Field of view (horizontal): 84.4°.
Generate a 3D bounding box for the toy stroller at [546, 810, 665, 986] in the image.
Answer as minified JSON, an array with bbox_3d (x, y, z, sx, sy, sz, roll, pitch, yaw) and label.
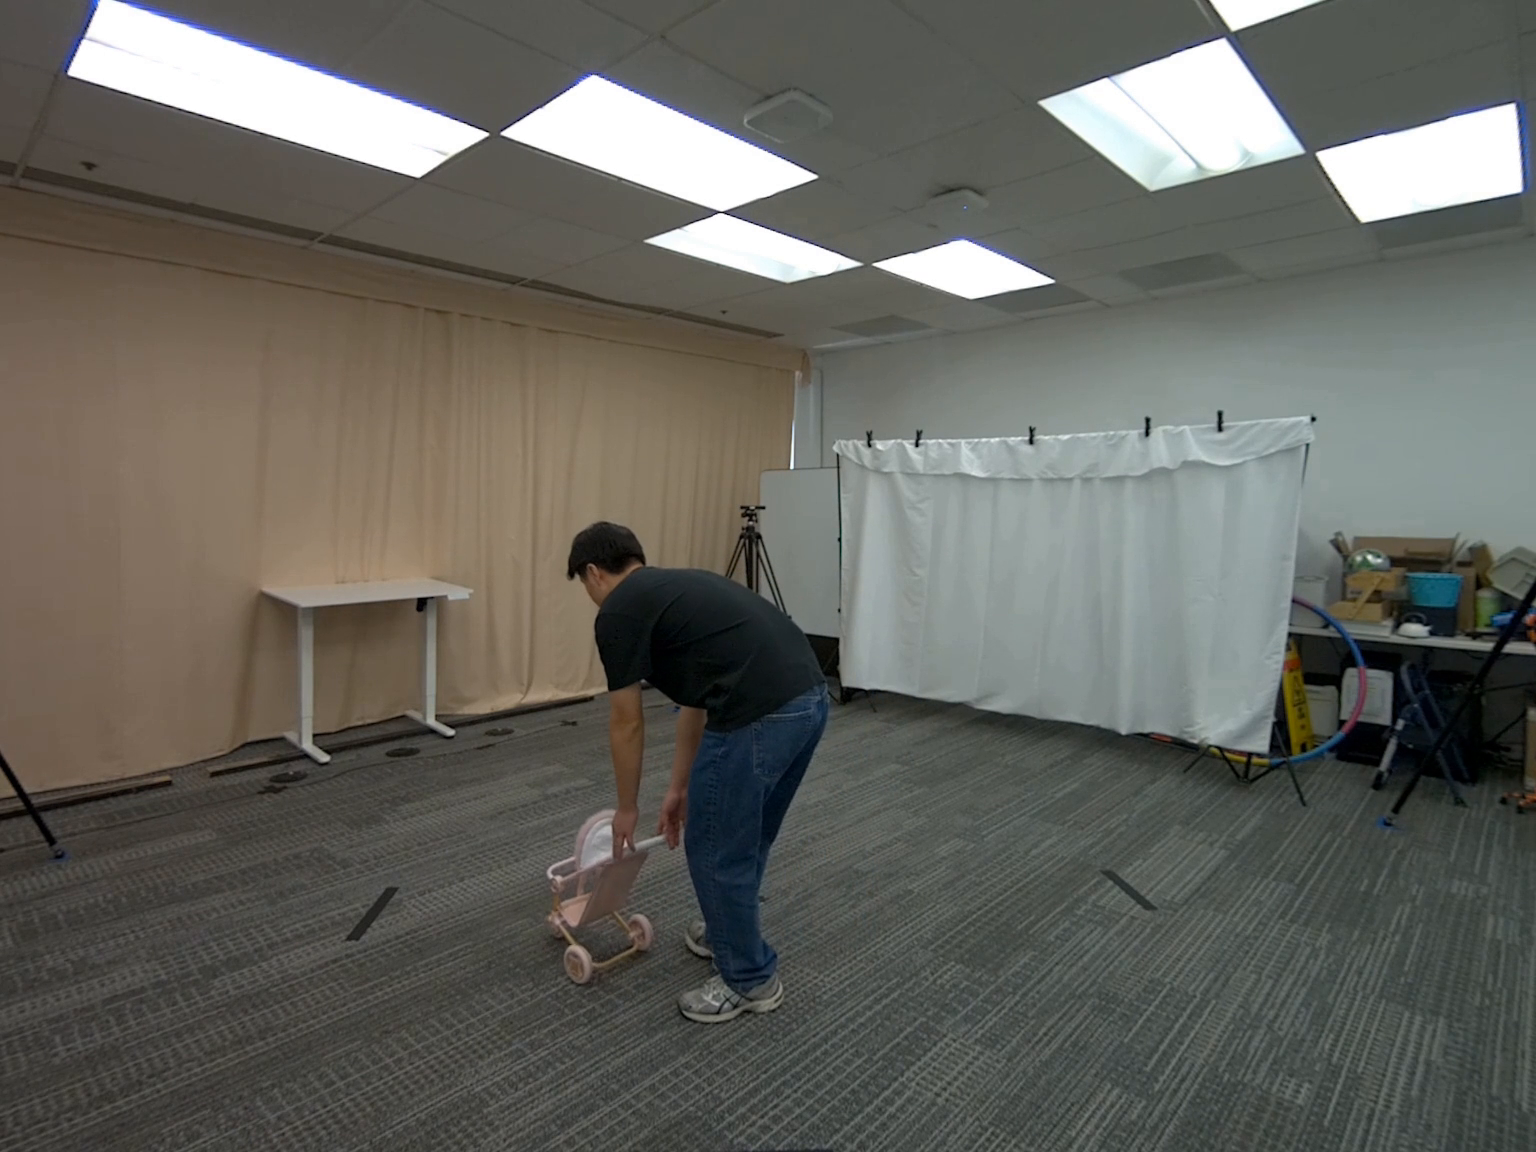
[{"bbox_3d":[-0.526,0.960,2.592,0.272,0.532,0.354,-1,20,-46],"label":"toy stroller"}]
